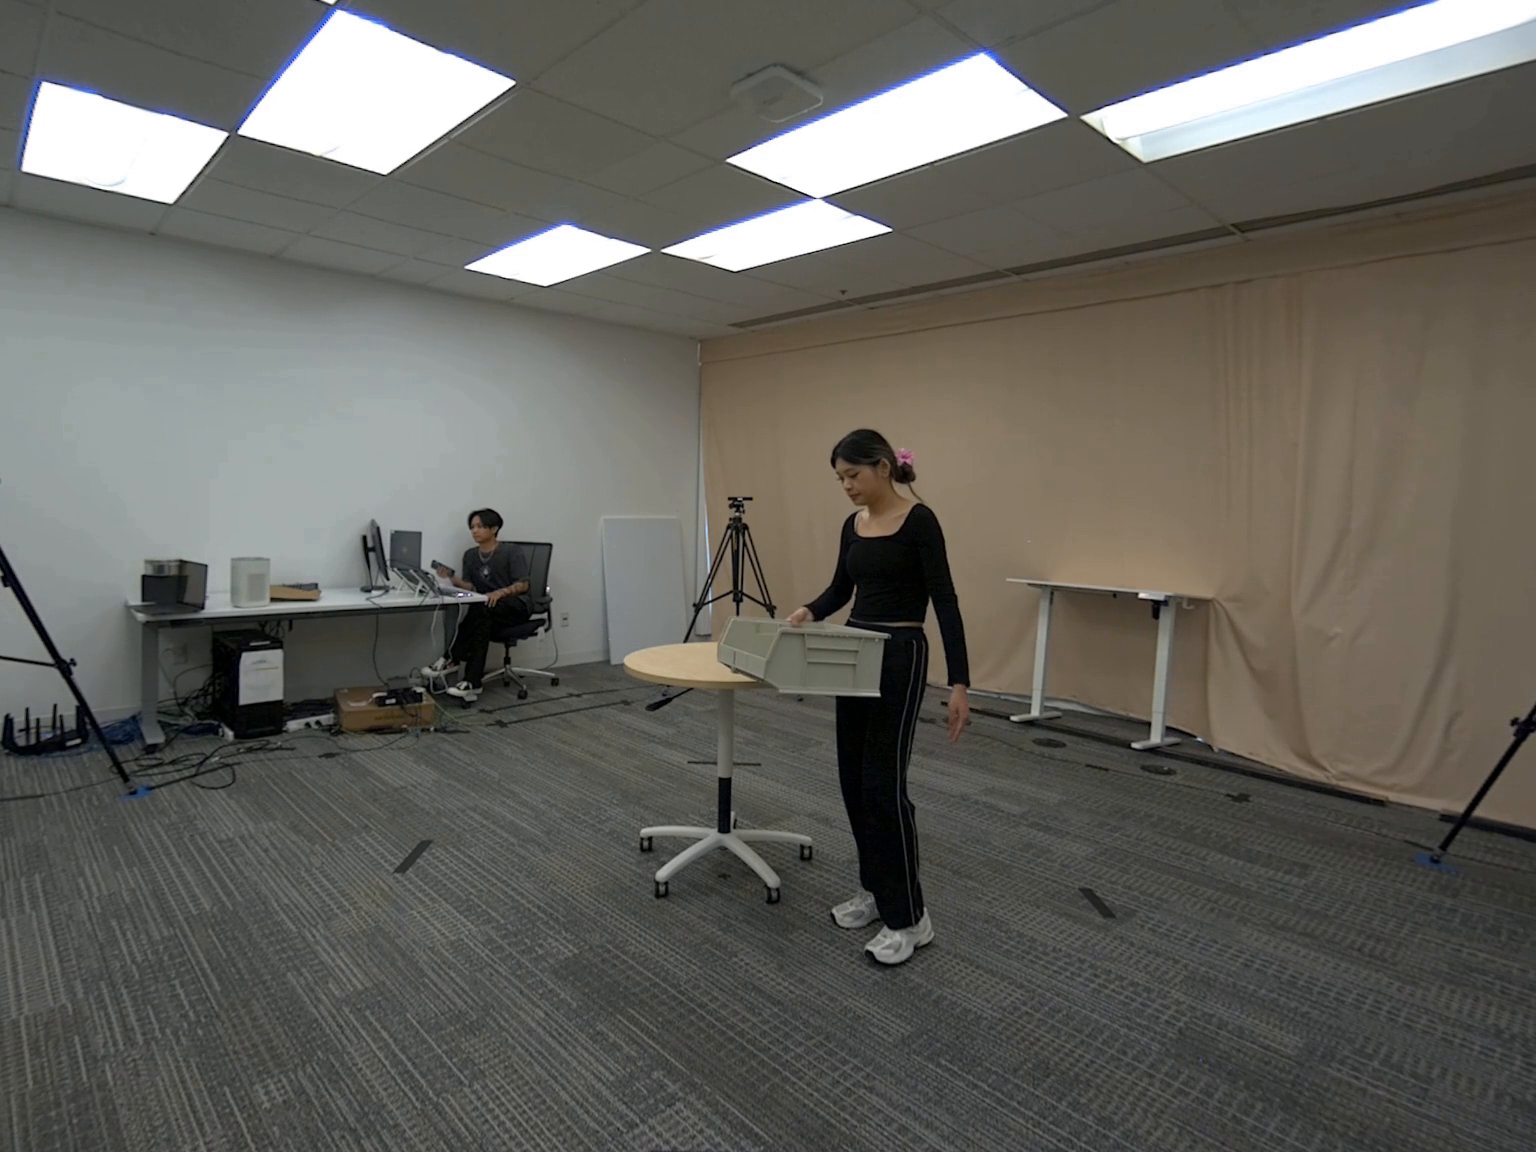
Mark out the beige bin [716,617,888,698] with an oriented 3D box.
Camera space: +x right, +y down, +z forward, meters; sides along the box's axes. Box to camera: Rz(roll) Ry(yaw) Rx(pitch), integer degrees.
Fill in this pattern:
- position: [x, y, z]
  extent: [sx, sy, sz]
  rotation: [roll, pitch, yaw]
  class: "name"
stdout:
- position: [0.084, 0.237, 2.524]
  extent: [0.371, 0.189, 0.429]
  rotation: [7, -1, -21]
  class: "beige bin"
